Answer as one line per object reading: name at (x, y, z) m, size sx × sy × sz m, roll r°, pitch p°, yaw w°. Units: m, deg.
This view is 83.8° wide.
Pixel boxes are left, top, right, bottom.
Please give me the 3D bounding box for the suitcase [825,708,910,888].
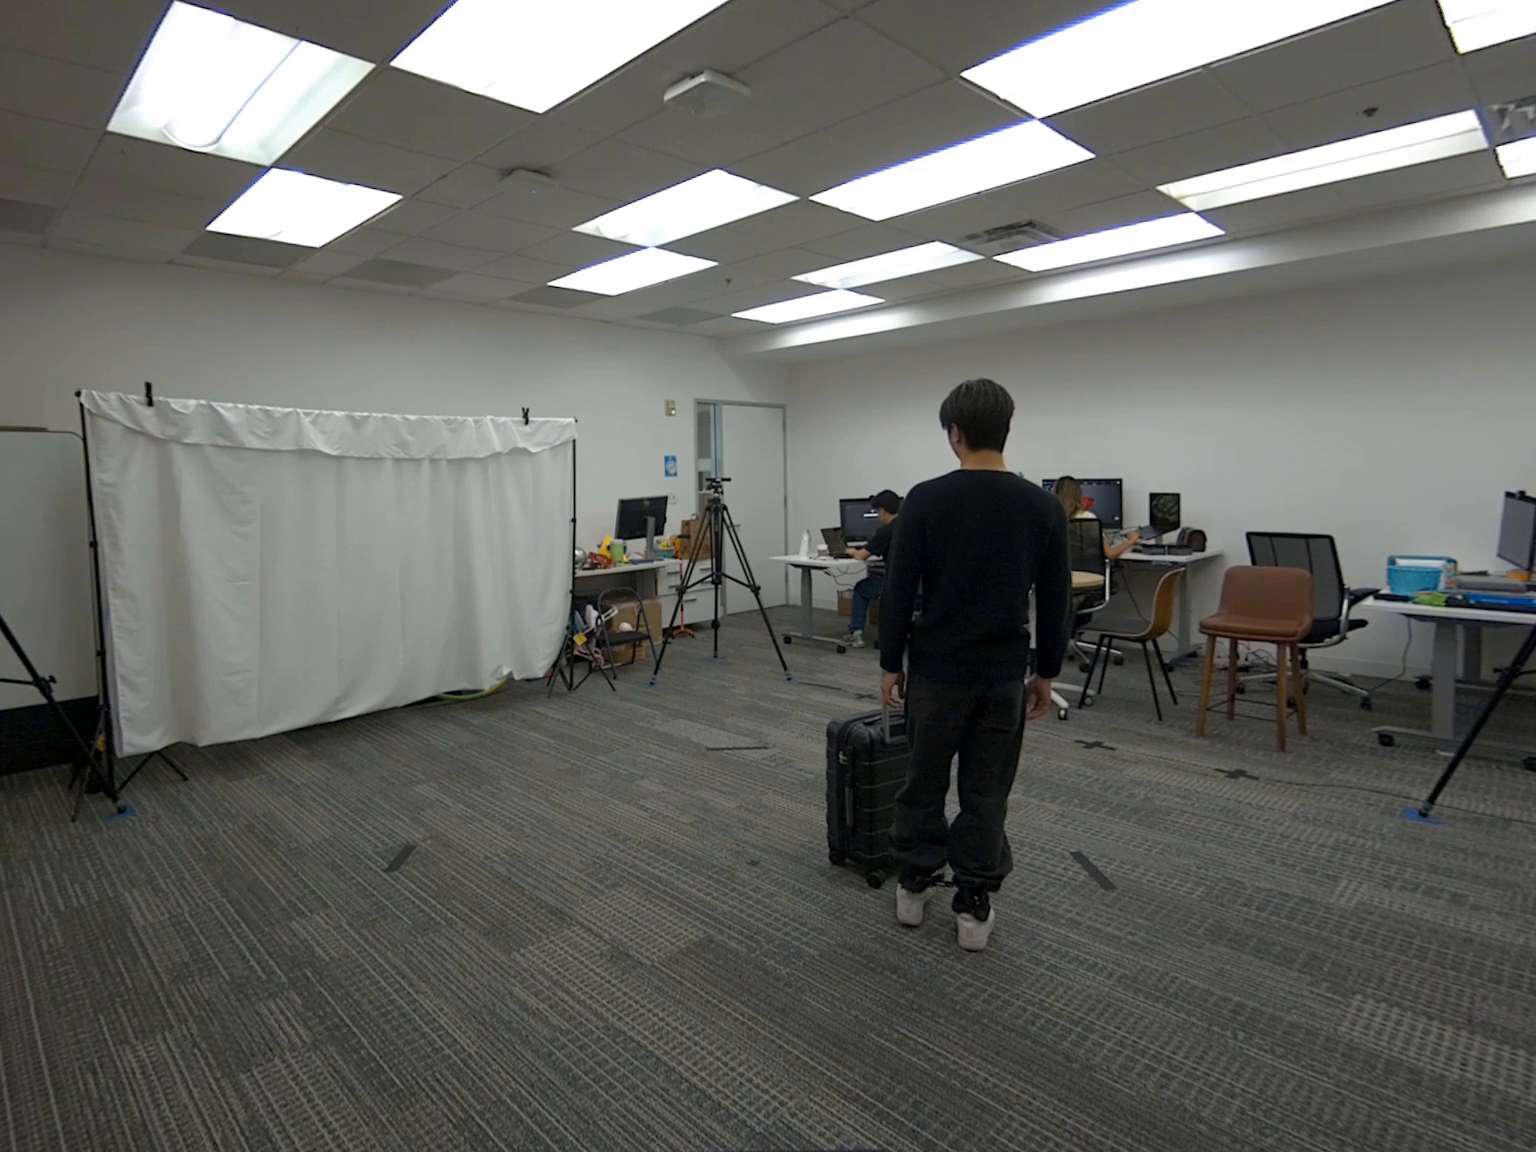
suitcase at (0.402, 0.563, 3.063) m, size 0.375 × 0.977 × 0.264 m, roll -4°, pitch 2°, yaw -31°
